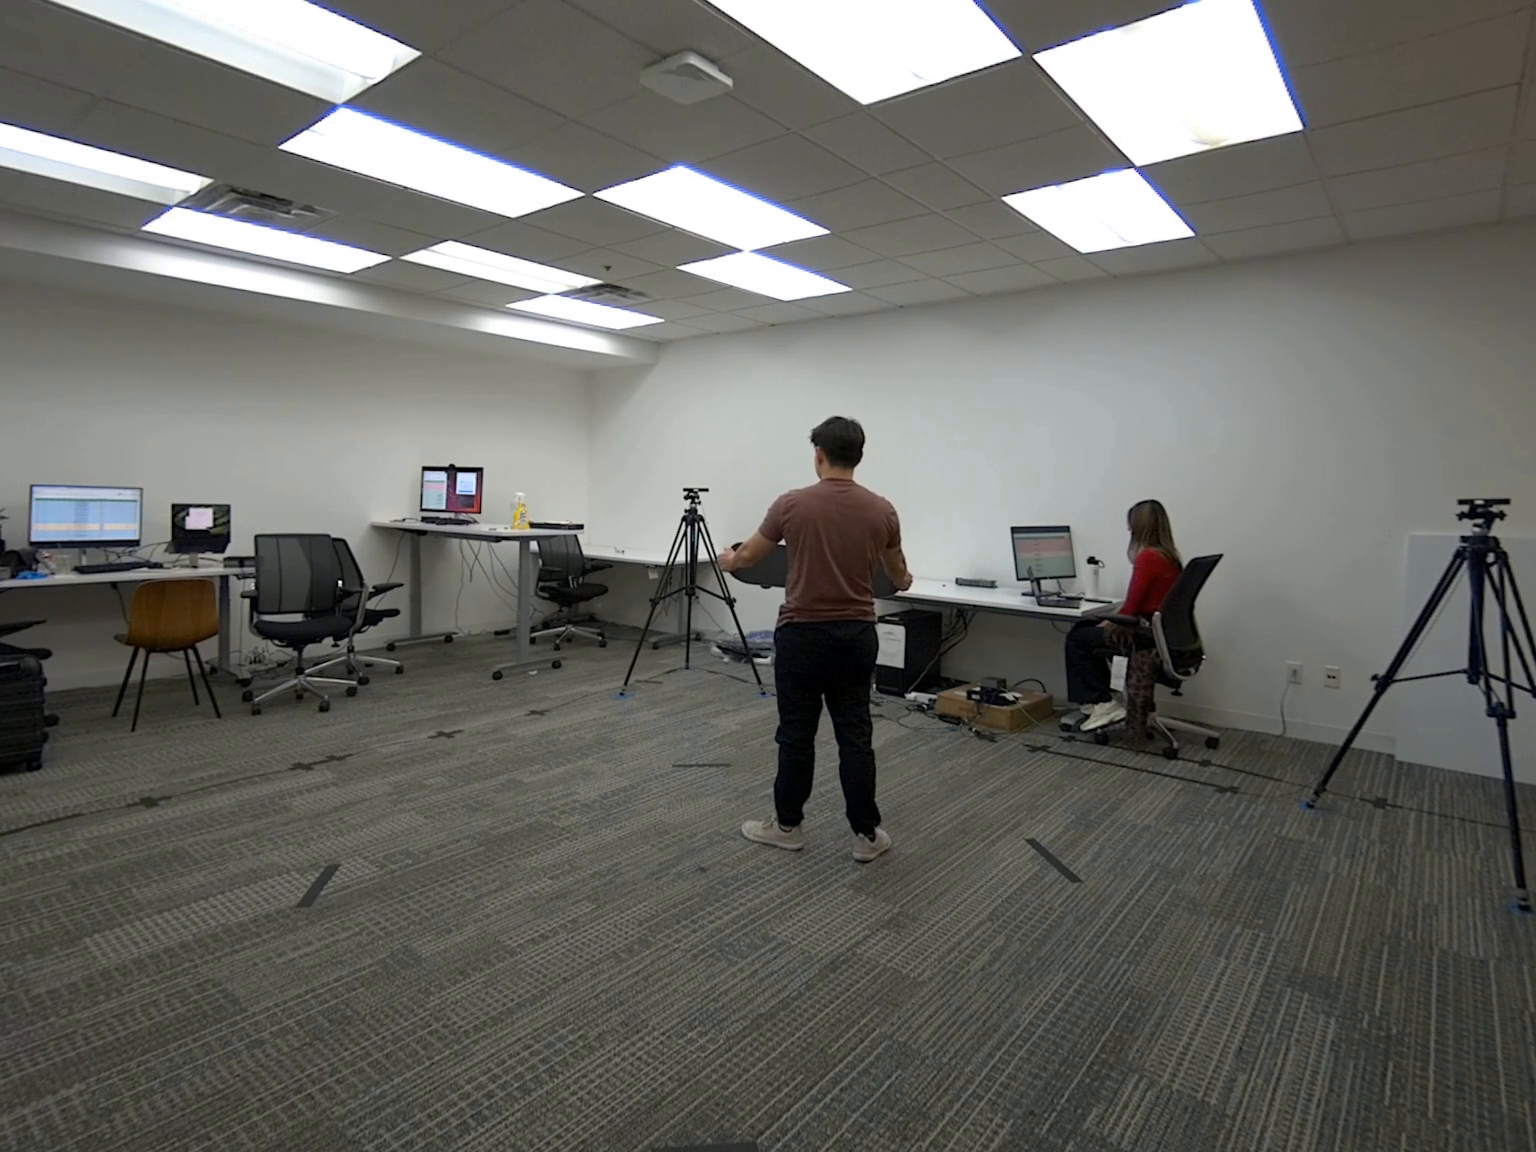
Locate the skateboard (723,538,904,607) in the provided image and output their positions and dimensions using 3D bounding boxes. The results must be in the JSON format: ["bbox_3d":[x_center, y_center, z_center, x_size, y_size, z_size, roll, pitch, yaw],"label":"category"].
[{"bbox_3d":[0.203,-0.016,3.743,0.783,0.196,0.109,6,-18,-3],"label":"skateboard"}]
